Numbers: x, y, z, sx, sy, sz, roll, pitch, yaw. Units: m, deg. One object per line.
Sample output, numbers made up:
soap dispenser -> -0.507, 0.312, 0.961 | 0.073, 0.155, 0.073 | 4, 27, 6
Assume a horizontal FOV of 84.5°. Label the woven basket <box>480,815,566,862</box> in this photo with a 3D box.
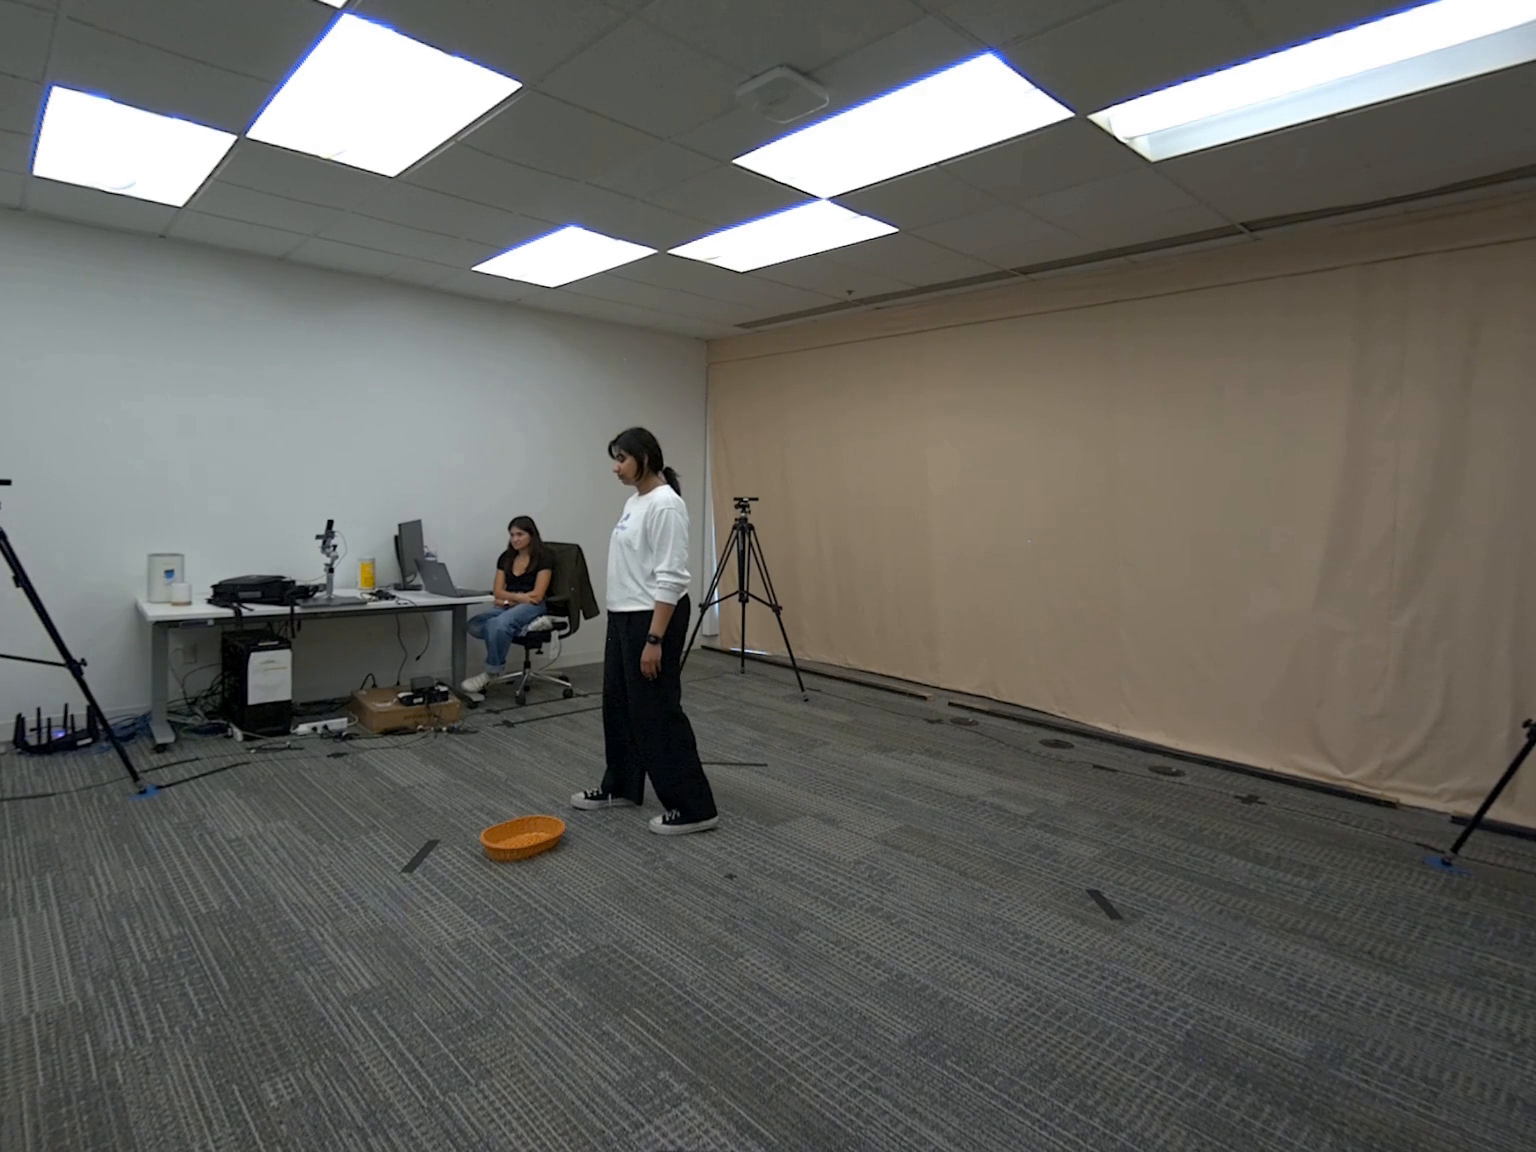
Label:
woven basket -> -0.968, 1.033, 3.305 | 0.259, 0.073, 0.342 | 7, 7, 41
